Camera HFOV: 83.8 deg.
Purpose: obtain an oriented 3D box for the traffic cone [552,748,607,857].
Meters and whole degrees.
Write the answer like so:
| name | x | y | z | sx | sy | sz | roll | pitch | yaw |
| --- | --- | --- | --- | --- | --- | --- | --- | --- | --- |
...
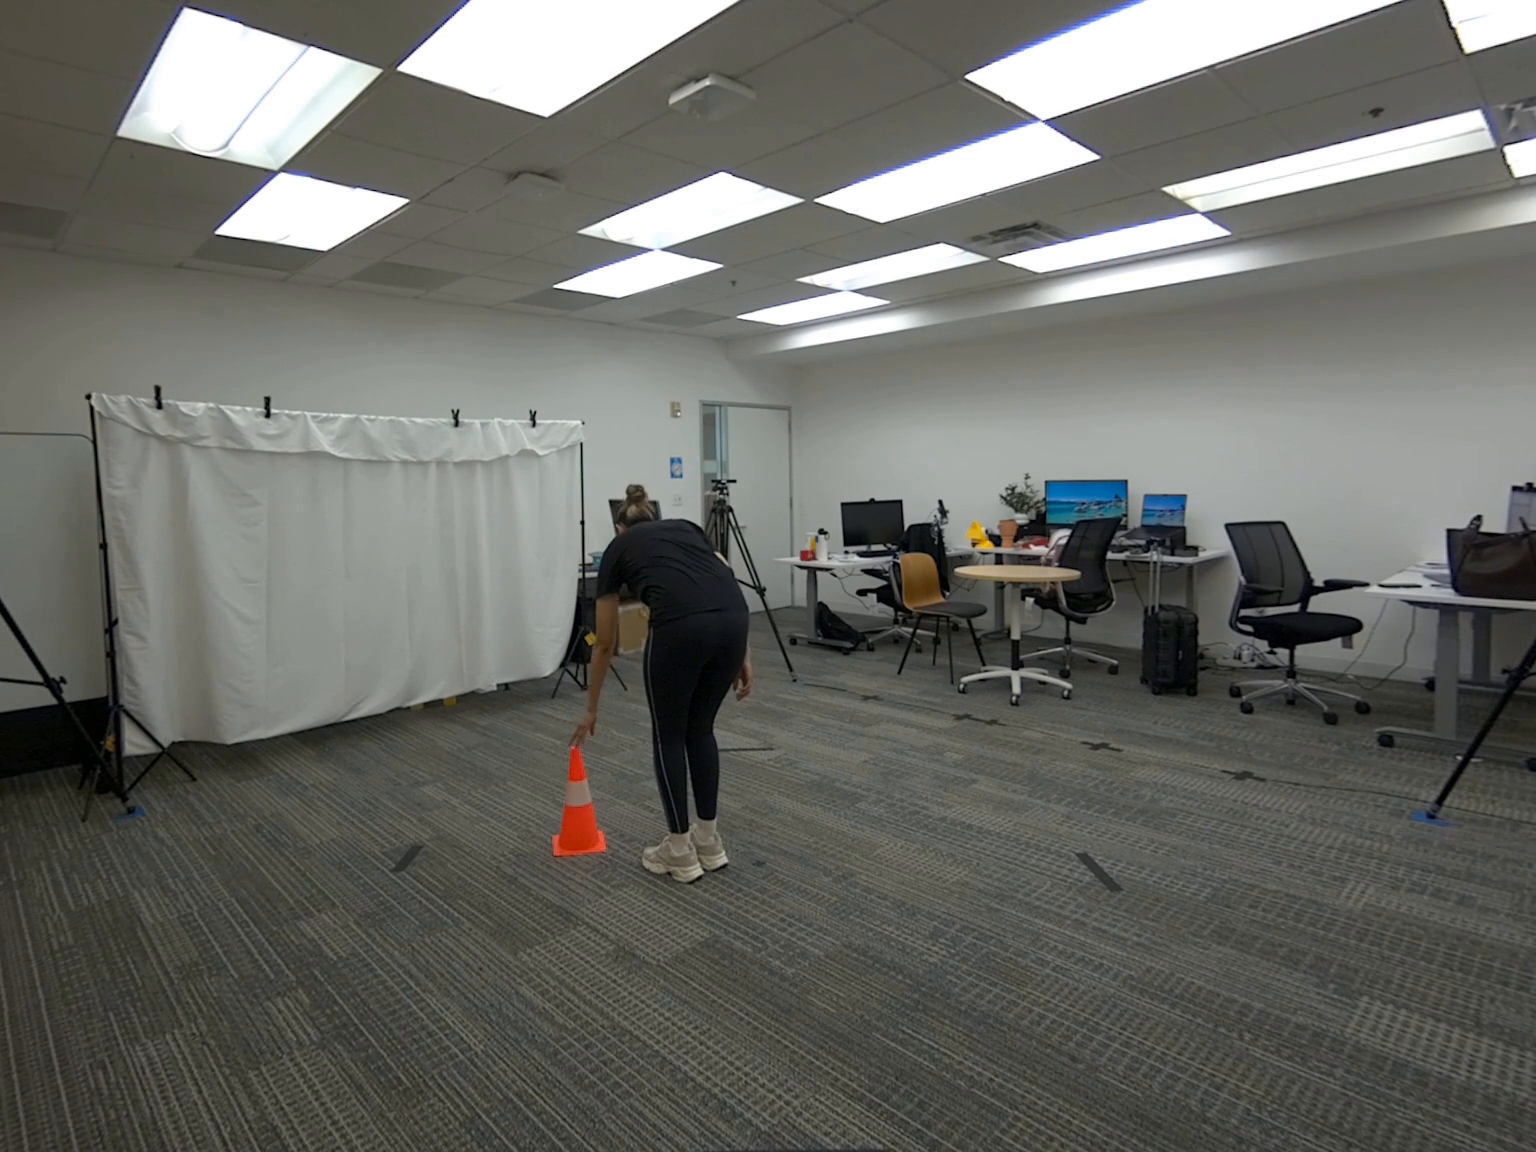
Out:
| name | x | y | z | sx | sy | sz | roll | pitch | yaw |
| --- | --- | --- | --- | --- | --- | --- | --- | --- | --- |
| traffic cone | -0.745 | 0.856 | 3.307 | 0.202 | 0.383 | 0.206 | -3 | 3 | -15 |
